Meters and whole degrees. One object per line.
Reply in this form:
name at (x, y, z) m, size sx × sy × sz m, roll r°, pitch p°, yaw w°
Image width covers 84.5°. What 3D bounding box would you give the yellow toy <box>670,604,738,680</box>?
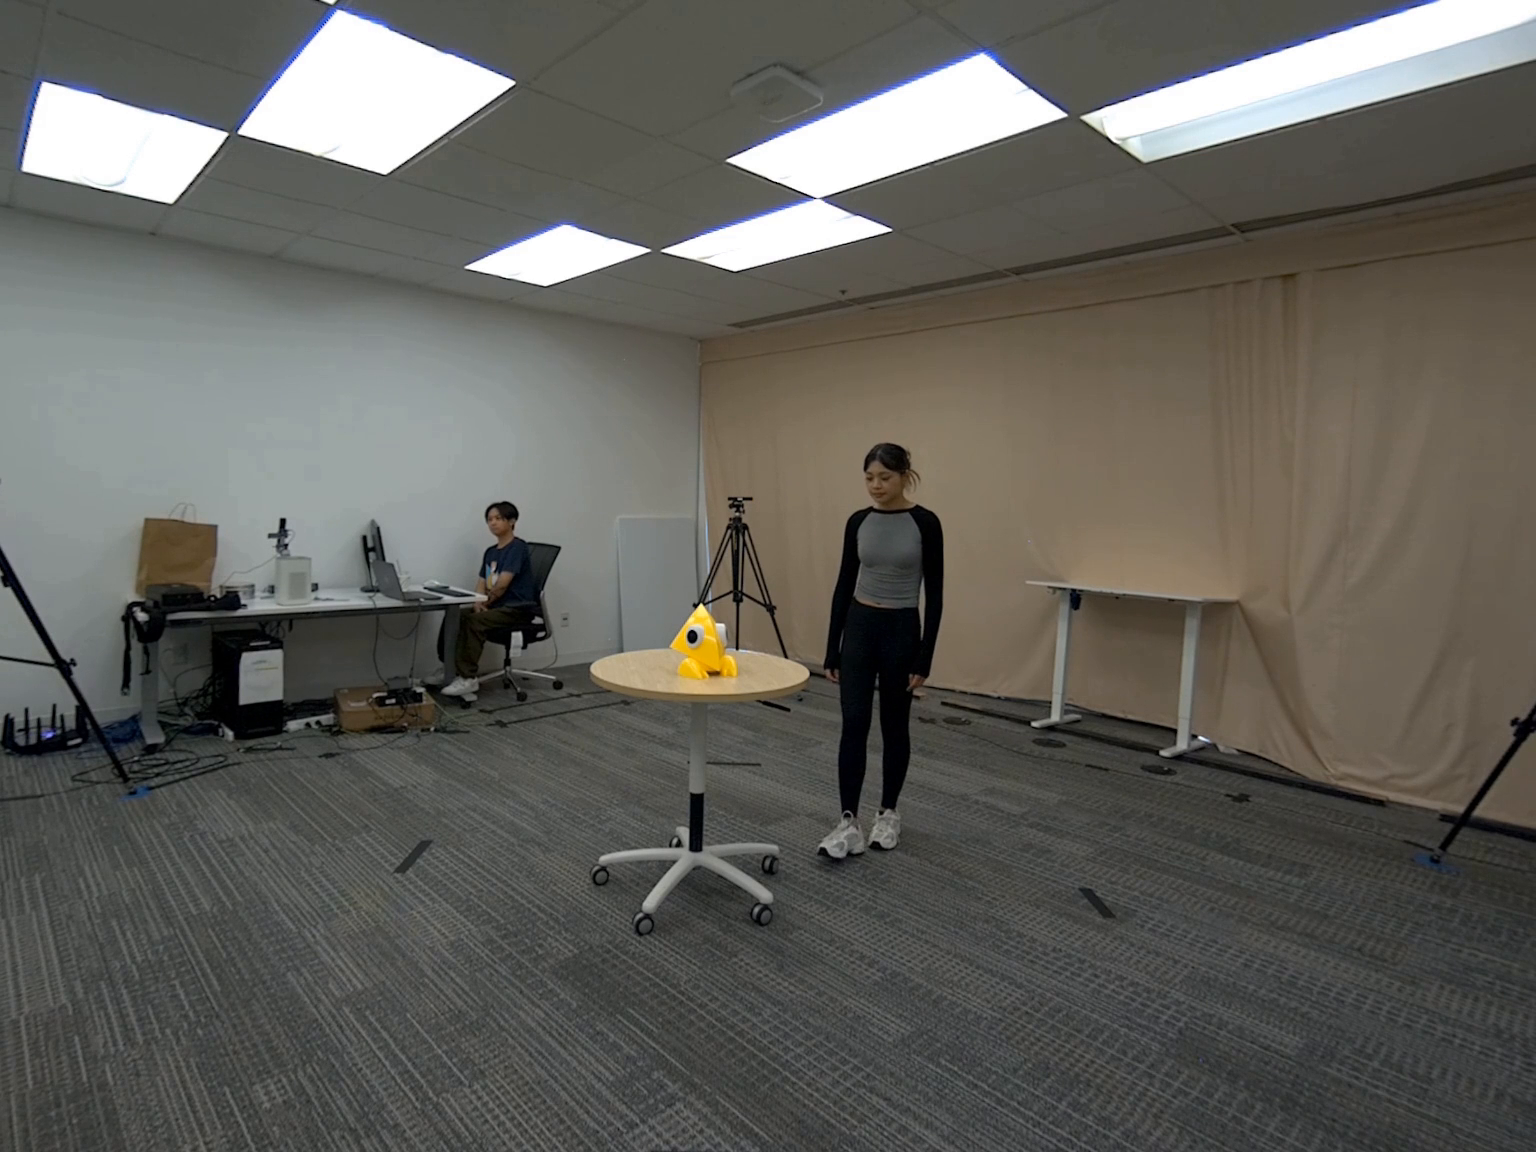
yellow toy at (-0.213, 0.221, 2.879) m, size 0.201 × 0.230 × 0.197 m, roll 0°, pitch 6°, yaw -29°
